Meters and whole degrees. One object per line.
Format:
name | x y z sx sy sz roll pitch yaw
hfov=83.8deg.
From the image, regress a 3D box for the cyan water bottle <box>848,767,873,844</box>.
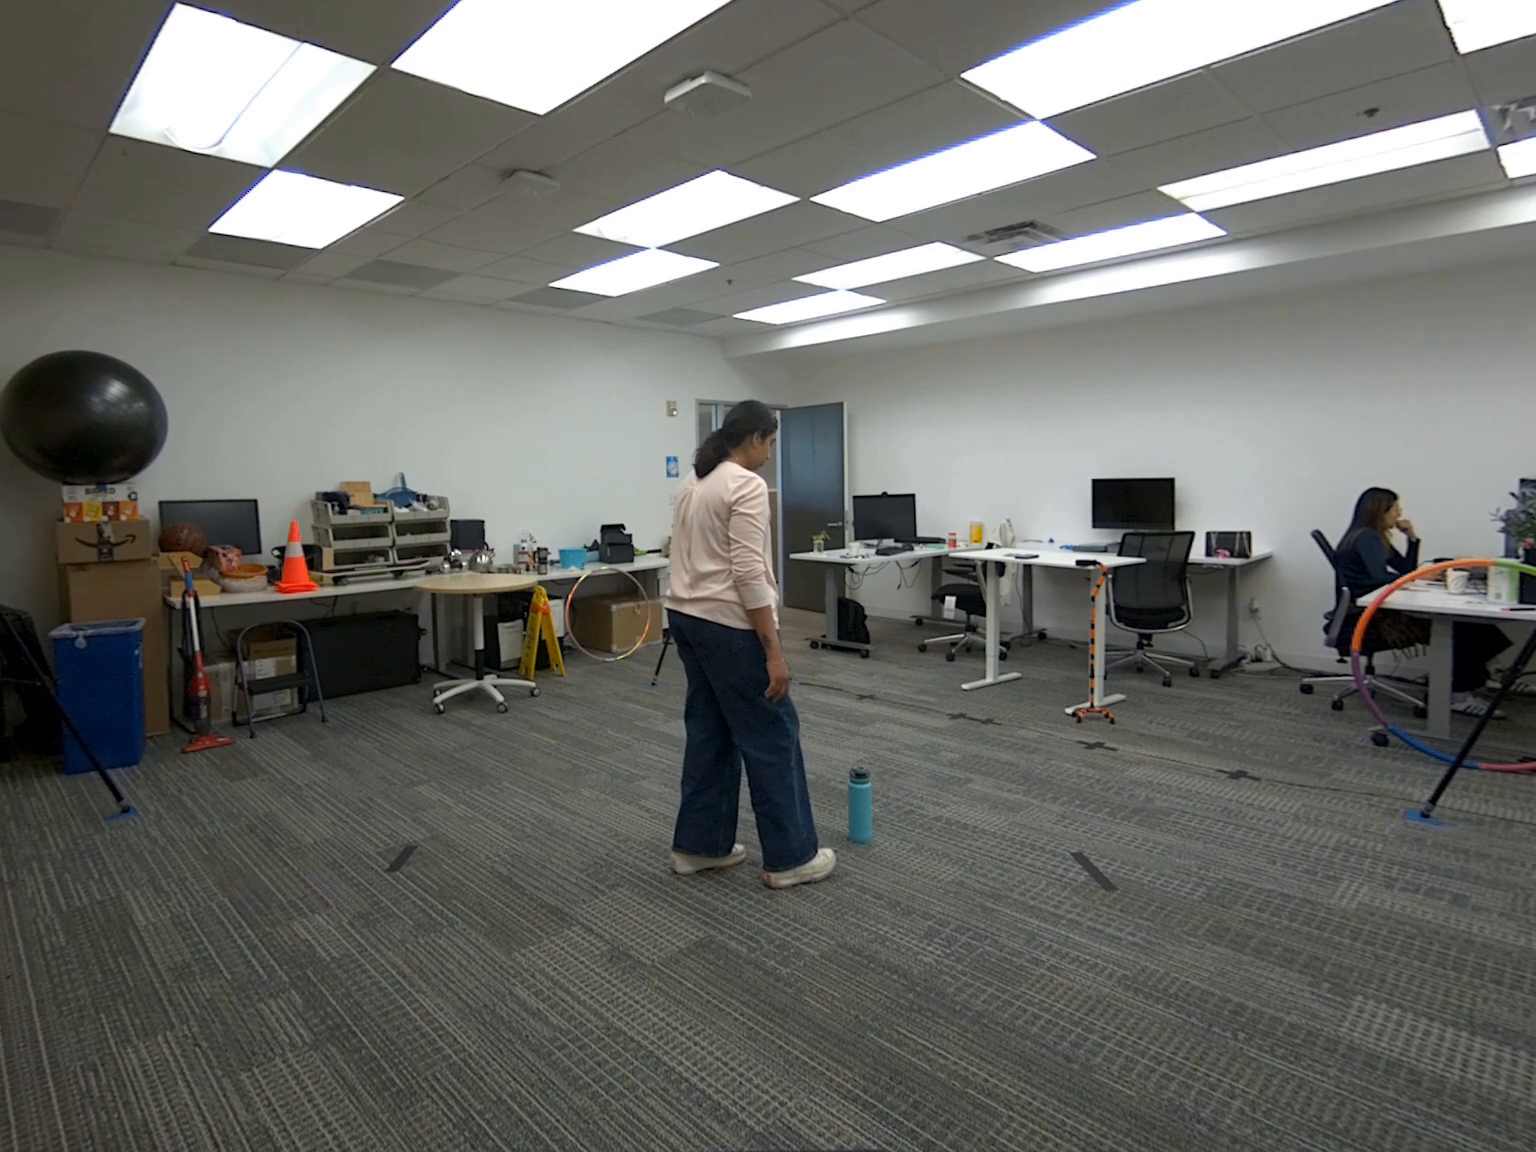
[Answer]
cyan water bottle | 0.358 0.877 3.300 0.092 0.283 0.092 -2 1 -2
